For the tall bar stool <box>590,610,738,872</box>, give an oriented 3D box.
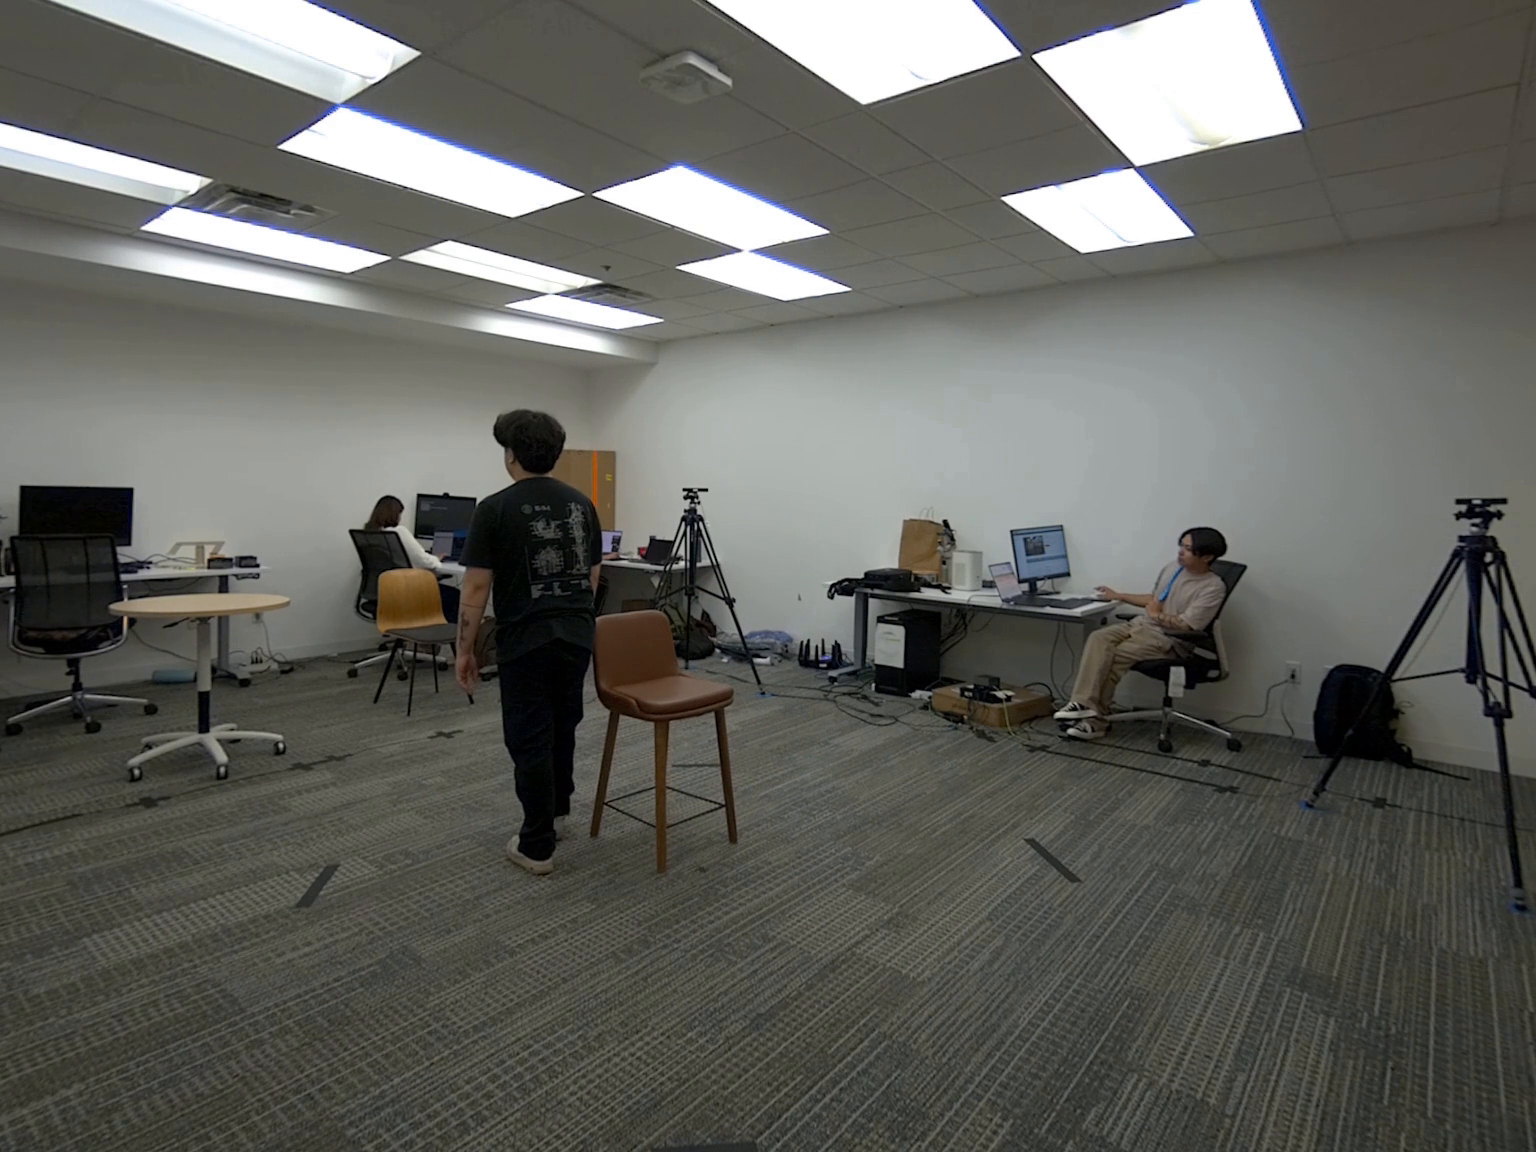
[{"bbox_3d":[-0.428,0.609,3.357,0.483,0.889,0.442,1,2,43],"label":"tall bar stool"}]
